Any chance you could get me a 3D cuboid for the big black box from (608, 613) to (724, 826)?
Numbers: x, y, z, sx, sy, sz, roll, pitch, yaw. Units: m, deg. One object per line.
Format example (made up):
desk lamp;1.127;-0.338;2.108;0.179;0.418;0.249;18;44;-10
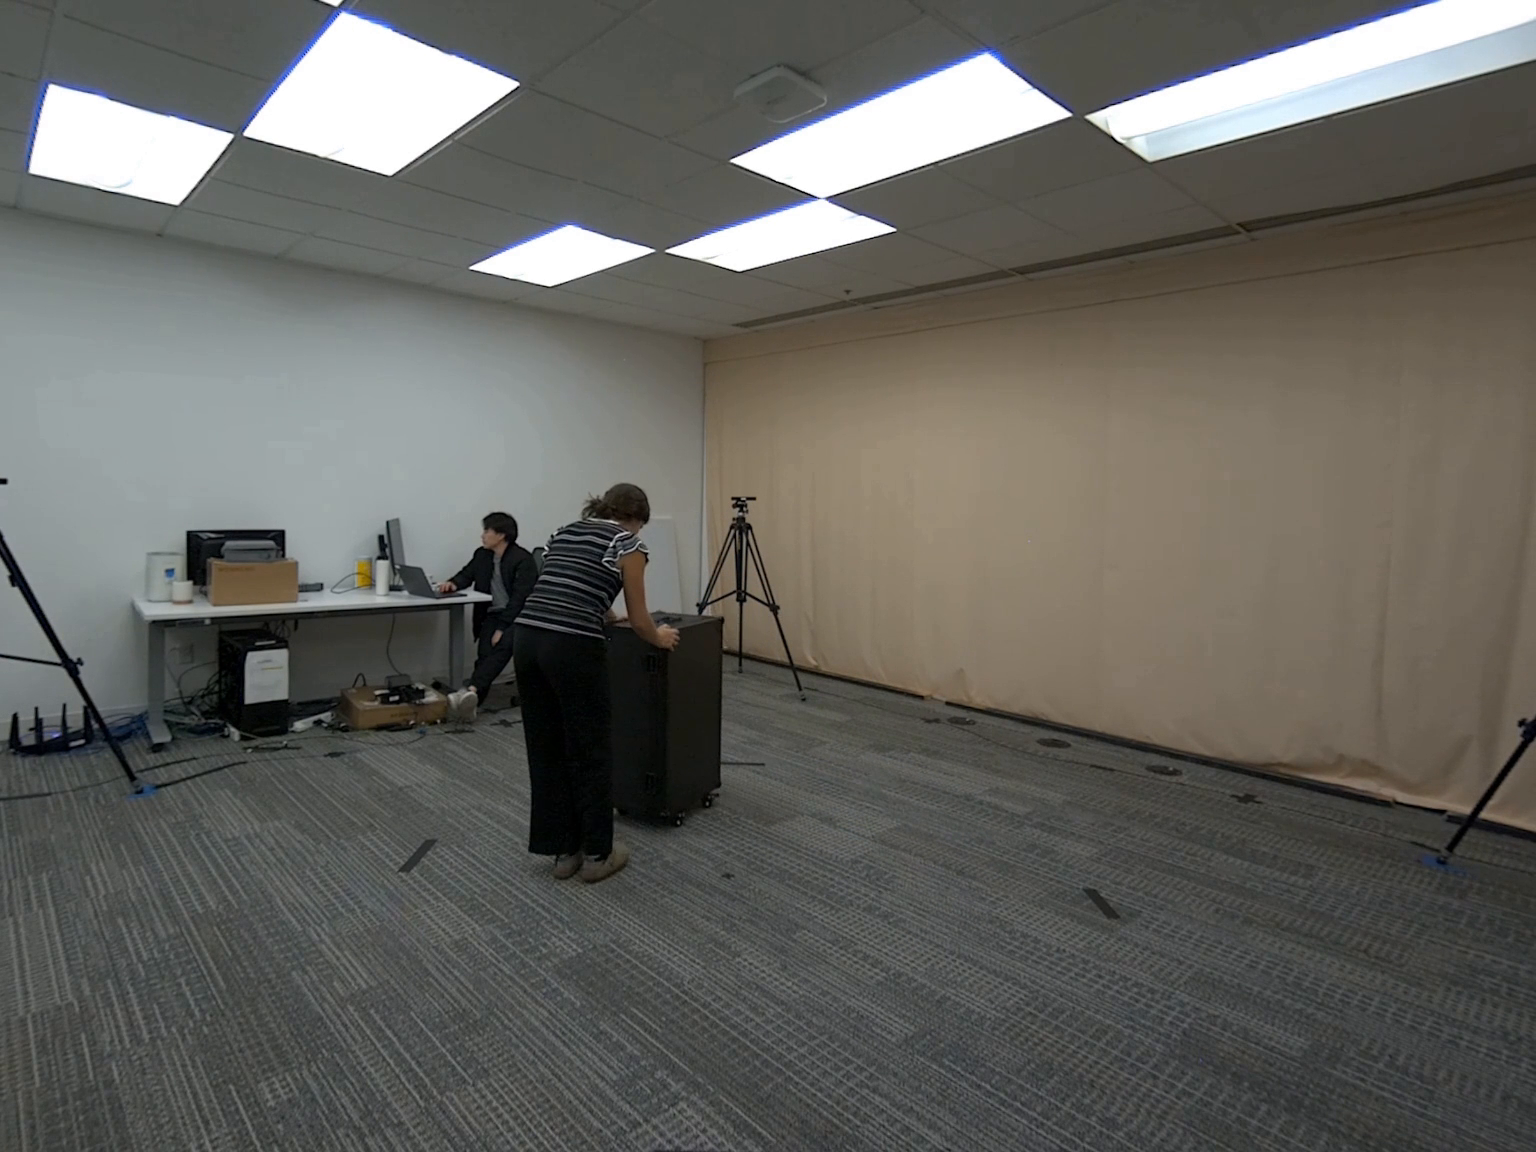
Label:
big black box;-0.484;0.623;3.724;0.404;0.860;0.512;2;3;27
